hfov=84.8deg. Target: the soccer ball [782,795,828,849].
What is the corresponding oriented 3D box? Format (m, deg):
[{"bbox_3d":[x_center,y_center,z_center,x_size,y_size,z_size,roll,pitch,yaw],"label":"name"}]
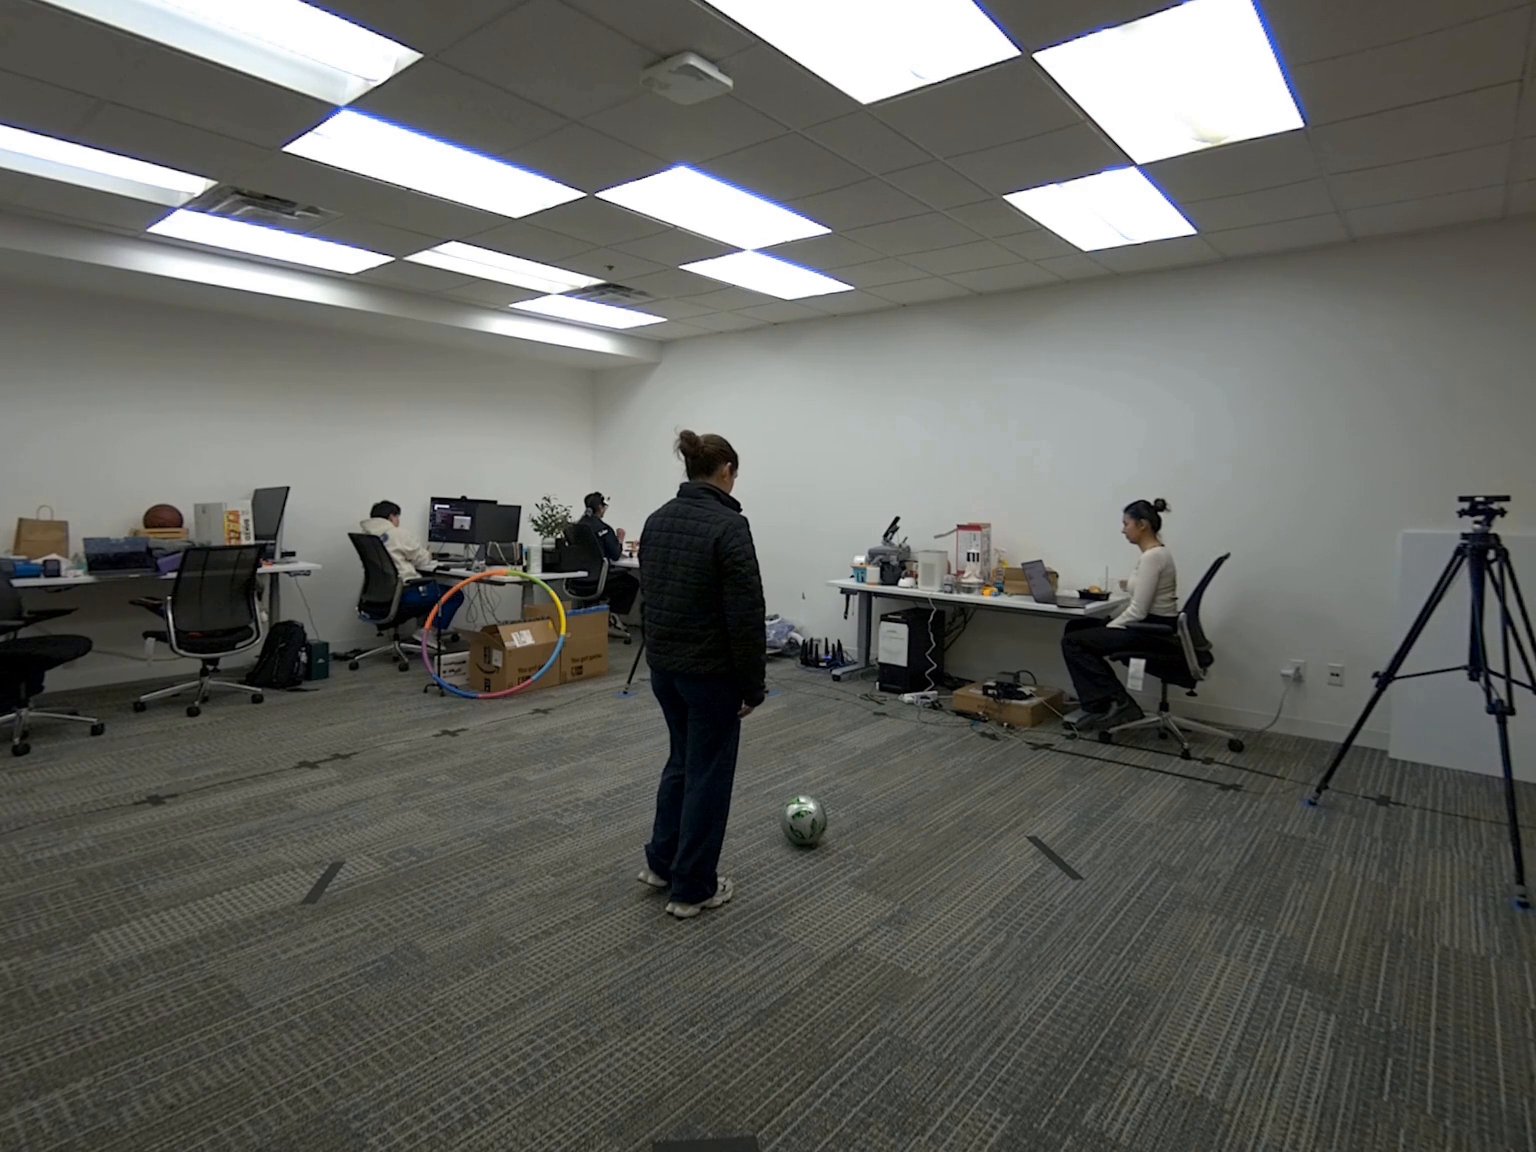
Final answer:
[{"bbox_3d":[0.132,0.956,3.344,0.187,0.187,0.188,1,4,-2],"label":"soccer ball"}]
